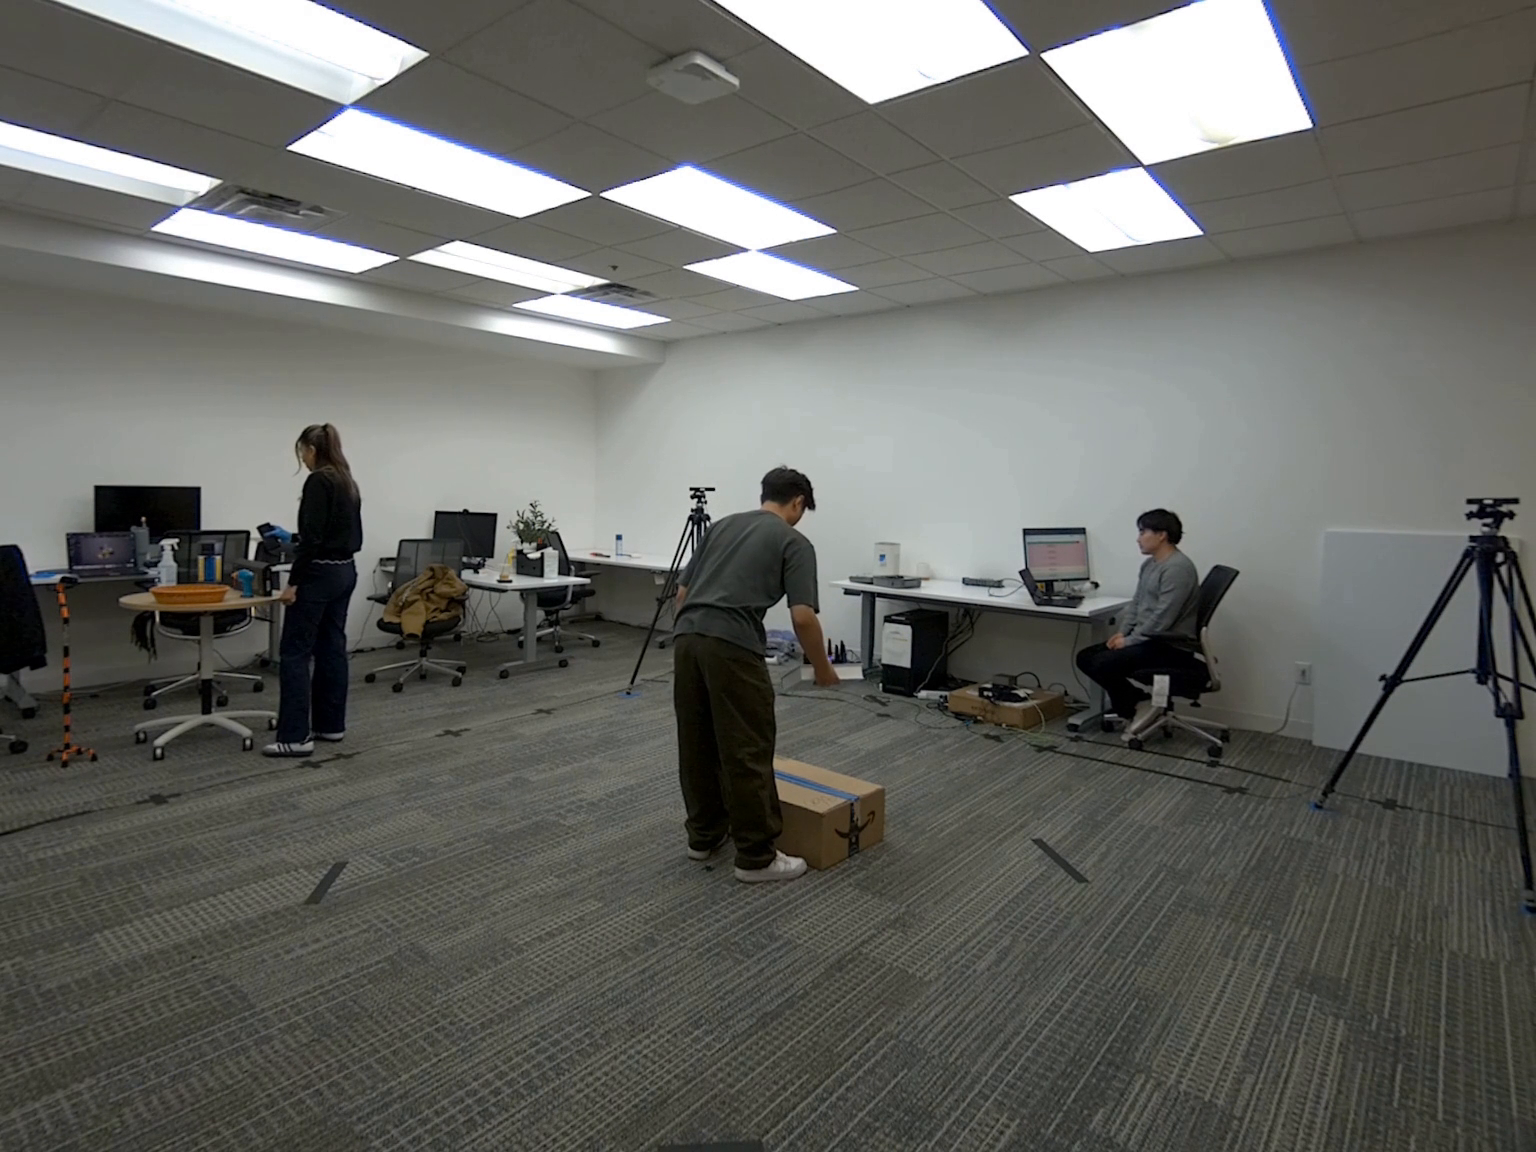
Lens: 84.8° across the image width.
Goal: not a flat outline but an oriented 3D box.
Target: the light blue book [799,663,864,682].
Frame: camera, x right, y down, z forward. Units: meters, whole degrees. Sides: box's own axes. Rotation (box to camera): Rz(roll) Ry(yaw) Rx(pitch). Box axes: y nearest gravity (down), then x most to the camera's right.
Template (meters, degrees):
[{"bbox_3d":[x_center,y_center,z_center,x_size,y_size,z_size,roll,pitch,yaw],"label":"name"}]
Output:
[{"bbox_3d":[0.201,0.387,3.257,0.257,0.060,0.191,0,-16,-16],"label":"light blue book"}]
